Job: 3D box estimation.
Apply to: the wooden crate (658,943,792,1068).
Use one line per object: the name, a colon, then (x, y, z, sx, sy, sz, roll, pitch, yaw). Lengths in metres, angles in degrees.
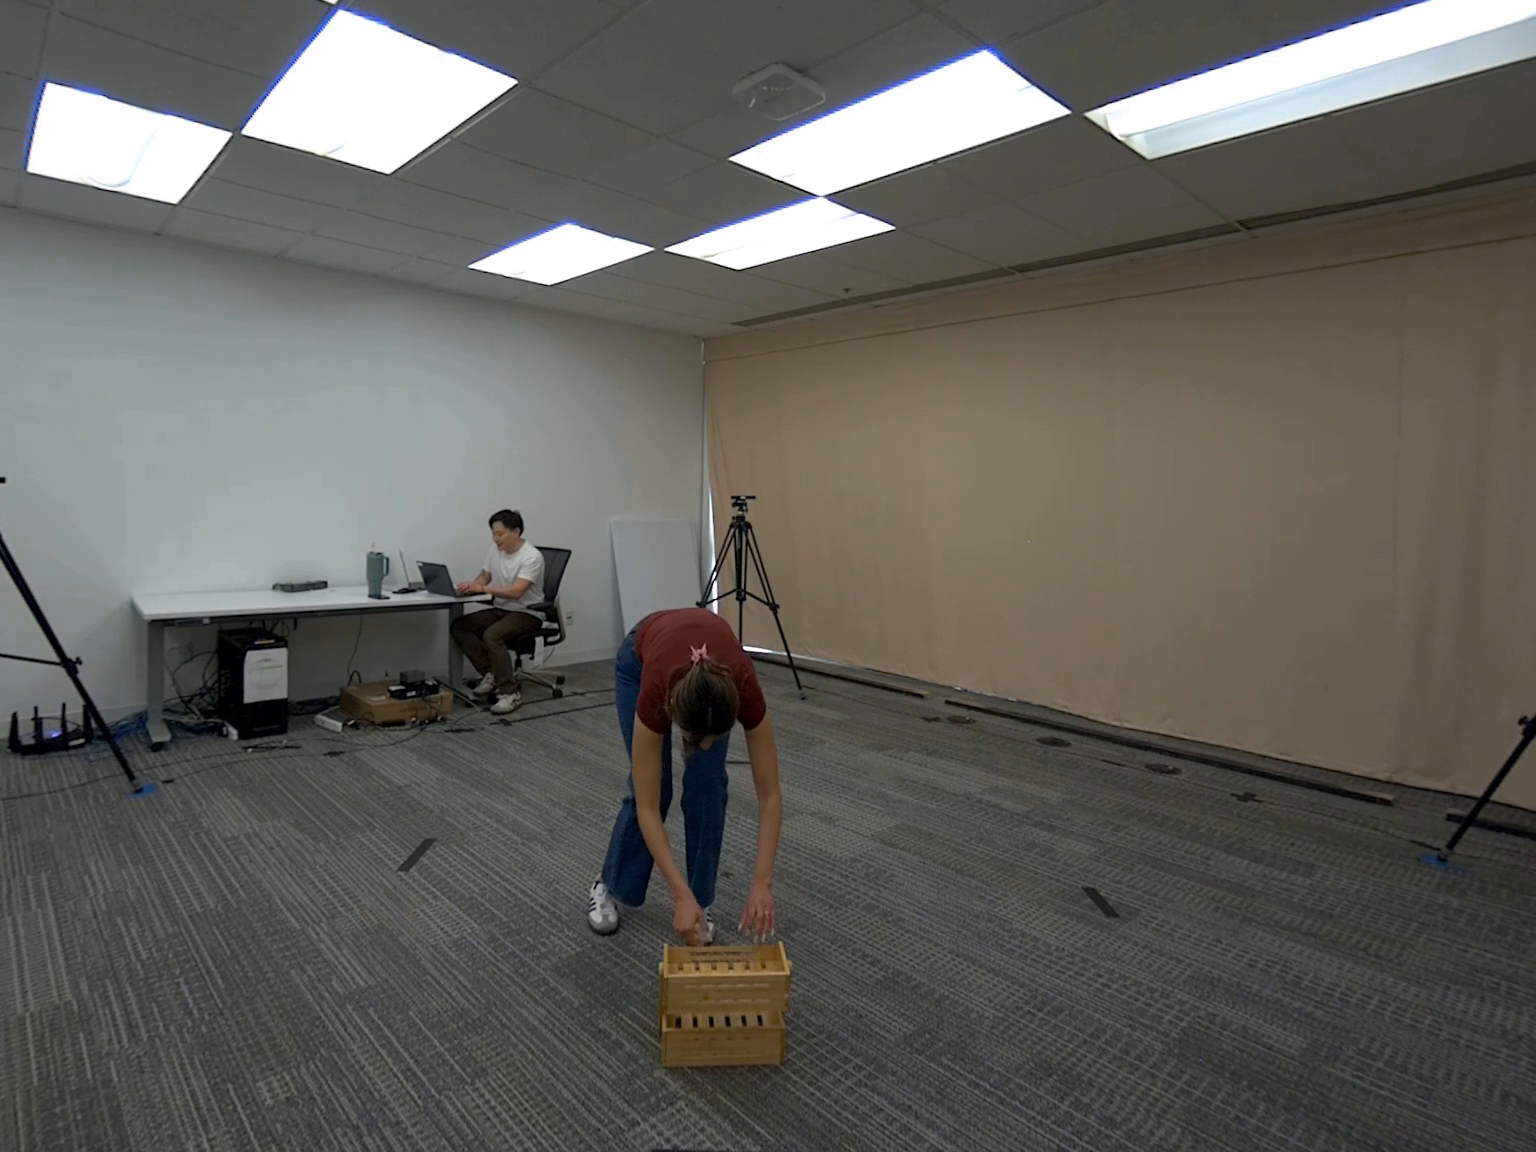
wooden crate: (-0.123, 1.060, 2.145, 0.322, 0.272, 0.305, 0, 5, -7)
